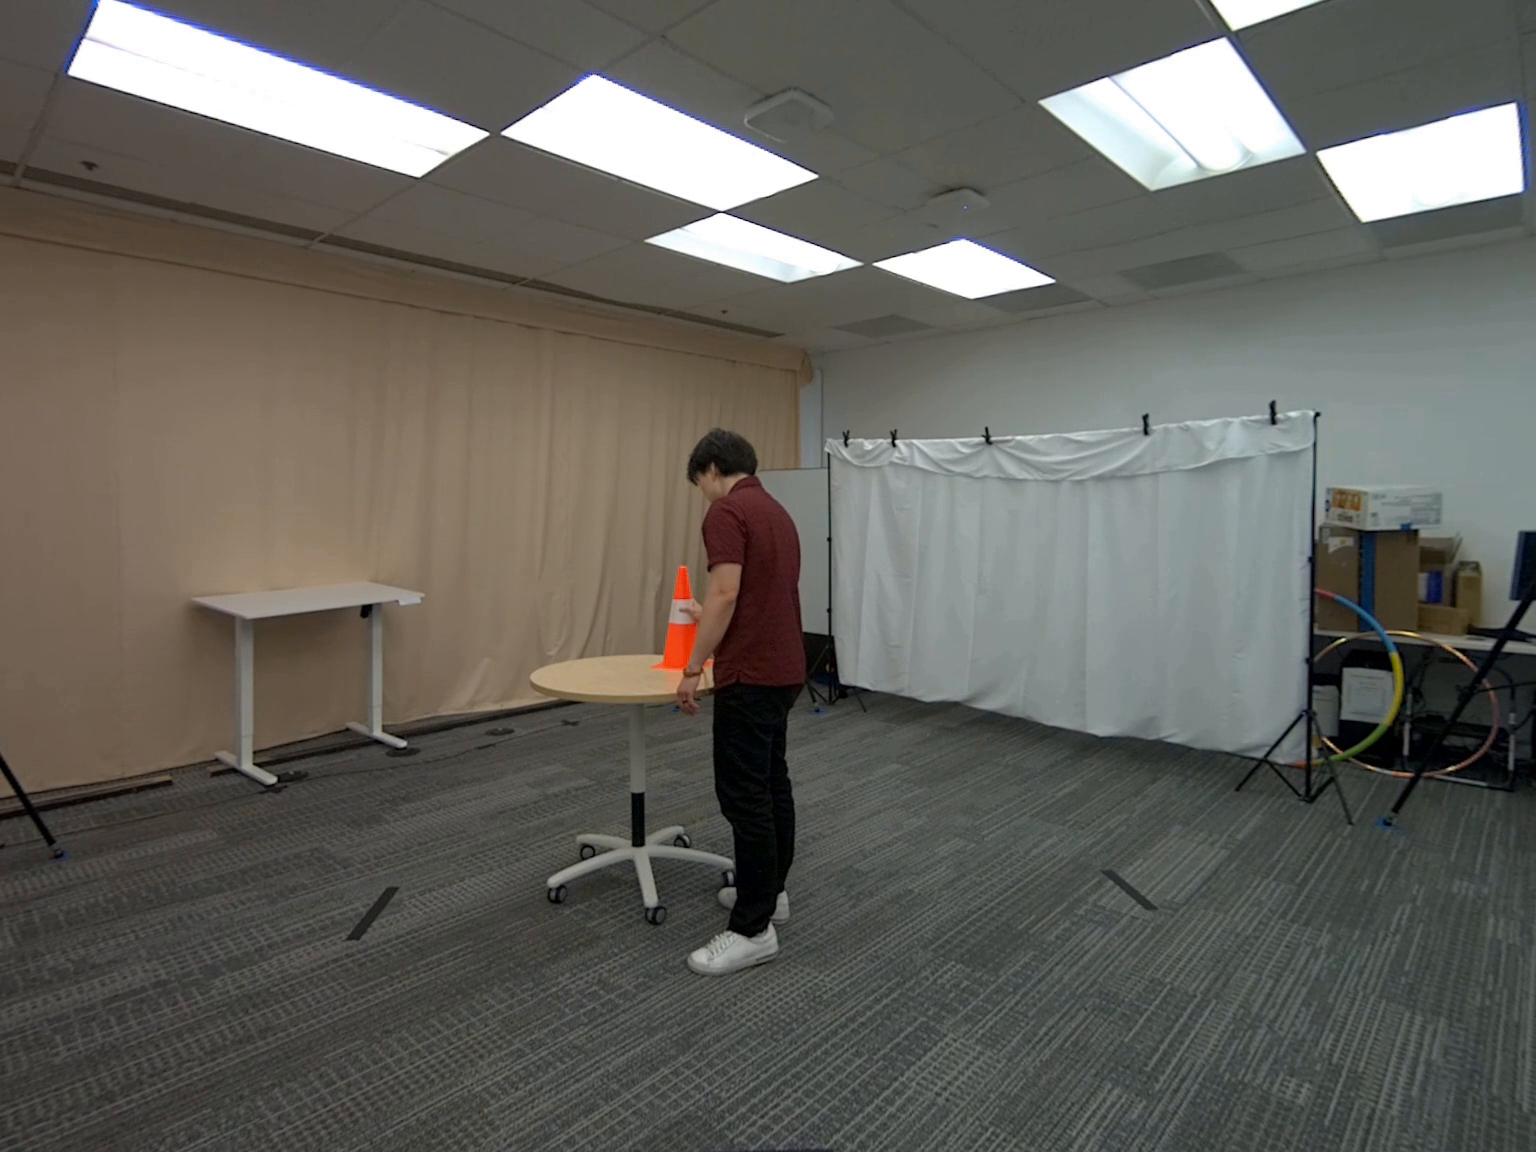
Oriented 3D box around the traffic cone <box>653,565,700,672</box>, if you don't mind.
[{"bbox_3d":[-0.325,0.159,3.228,0.208,0.383,0.200,1,2,13],"label":"traffic cone"}]
